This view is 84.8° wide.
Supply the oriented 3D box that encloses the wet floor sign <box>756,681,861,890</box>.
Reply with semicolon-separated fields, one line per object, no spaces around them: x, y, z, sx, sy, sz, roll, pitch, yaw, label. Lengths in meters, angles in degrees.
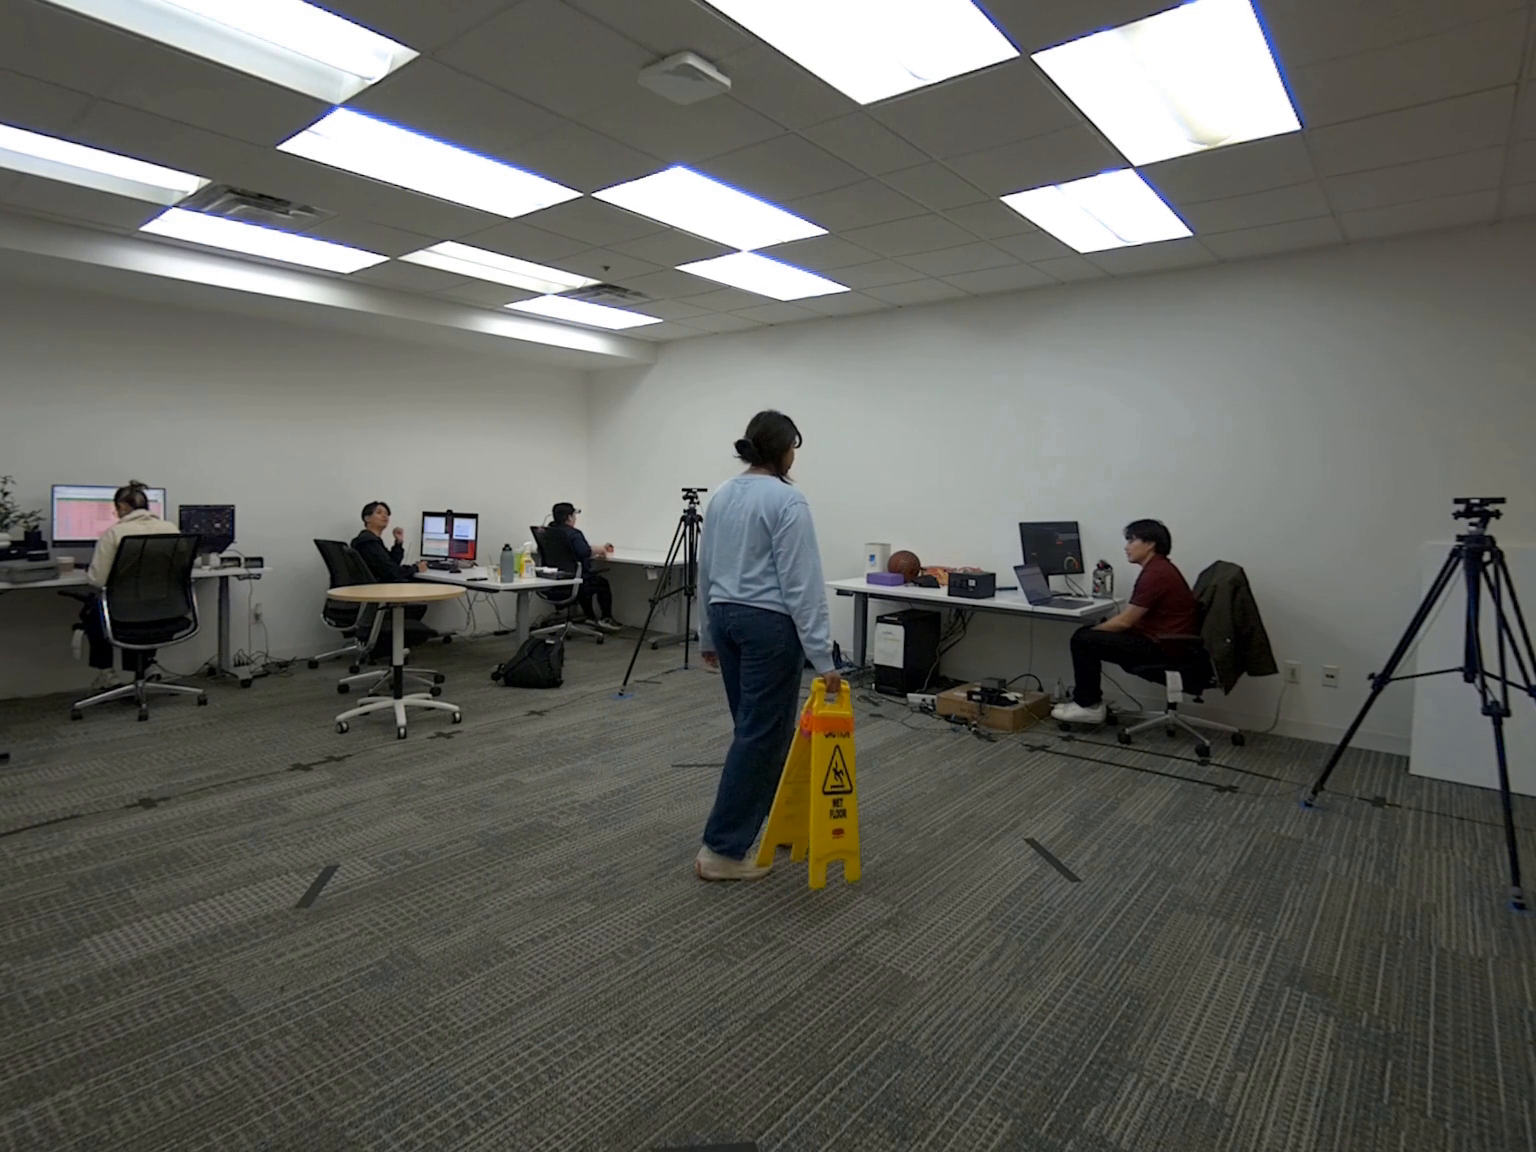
0.167;0.670;2.898;0.299;0.649;0.271;3;-8;42;wet floor sign
